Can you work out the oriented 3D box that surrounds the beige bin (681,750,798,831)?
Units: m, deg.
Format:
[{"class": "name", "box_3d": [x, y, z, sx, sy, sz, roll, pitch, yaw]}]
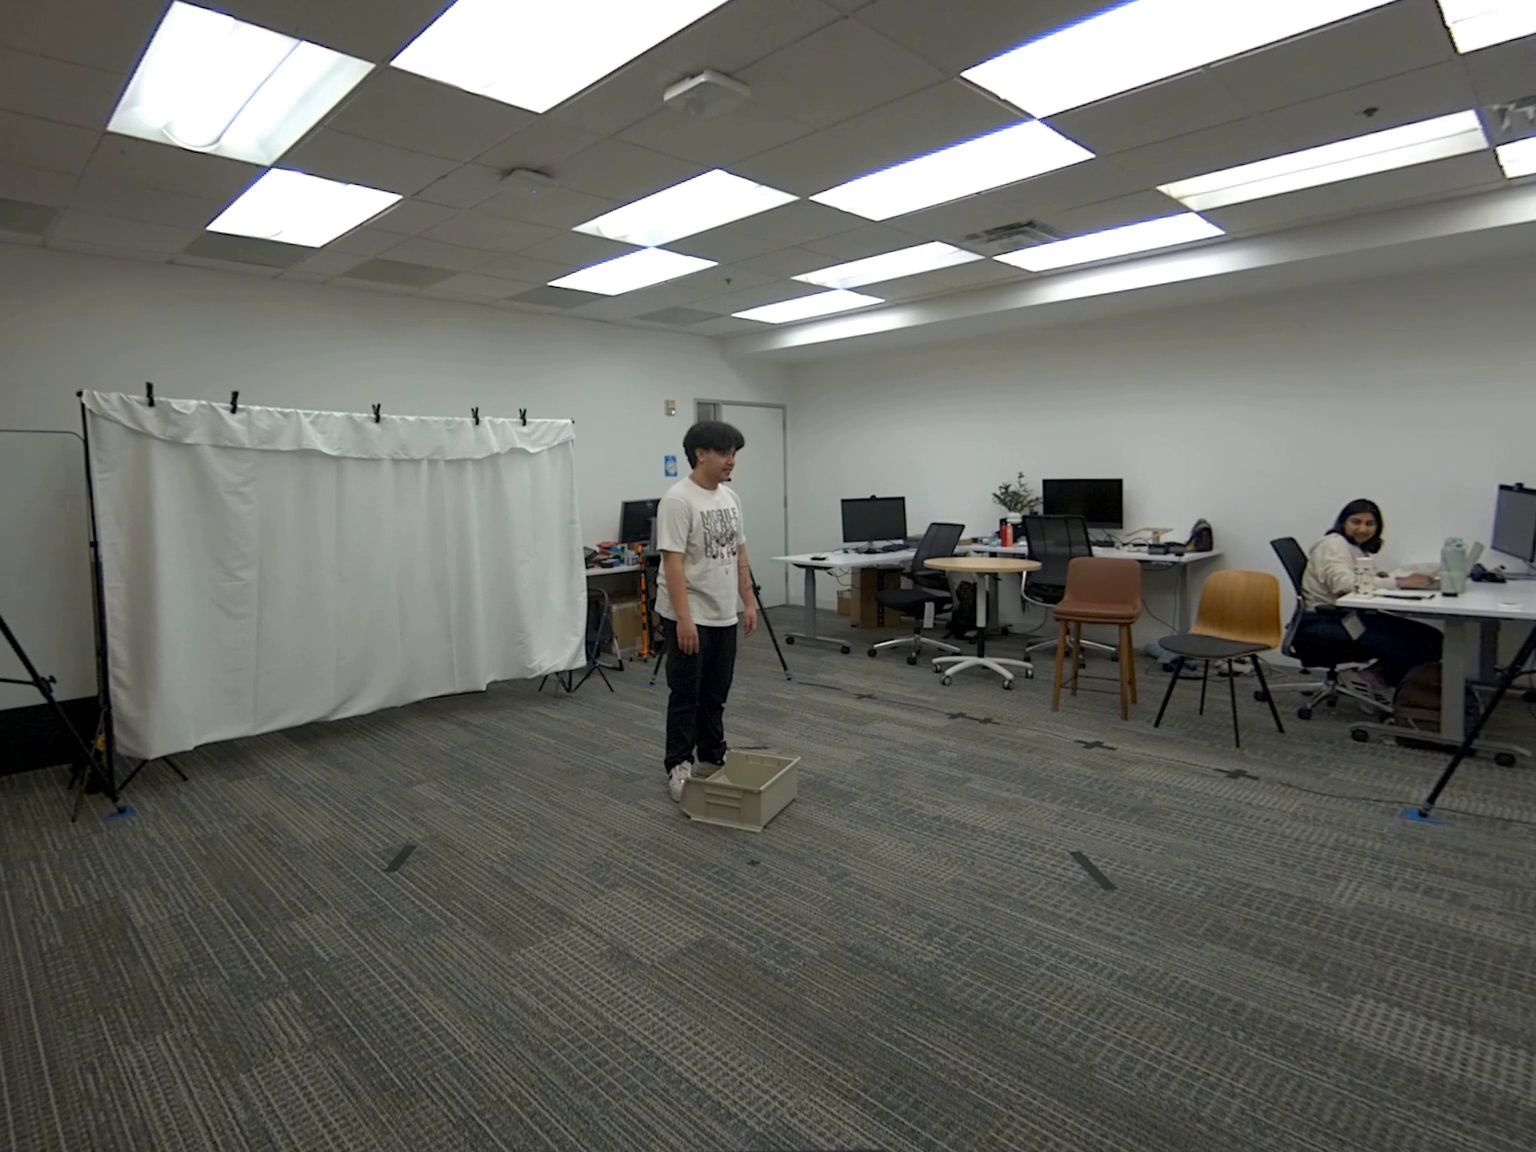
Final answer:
[{"class": "beige bin", "box_3d": [-0.110, 0.894, 3.623, 0.386, 0.188, 0.414, 3, 6, 24]}]
